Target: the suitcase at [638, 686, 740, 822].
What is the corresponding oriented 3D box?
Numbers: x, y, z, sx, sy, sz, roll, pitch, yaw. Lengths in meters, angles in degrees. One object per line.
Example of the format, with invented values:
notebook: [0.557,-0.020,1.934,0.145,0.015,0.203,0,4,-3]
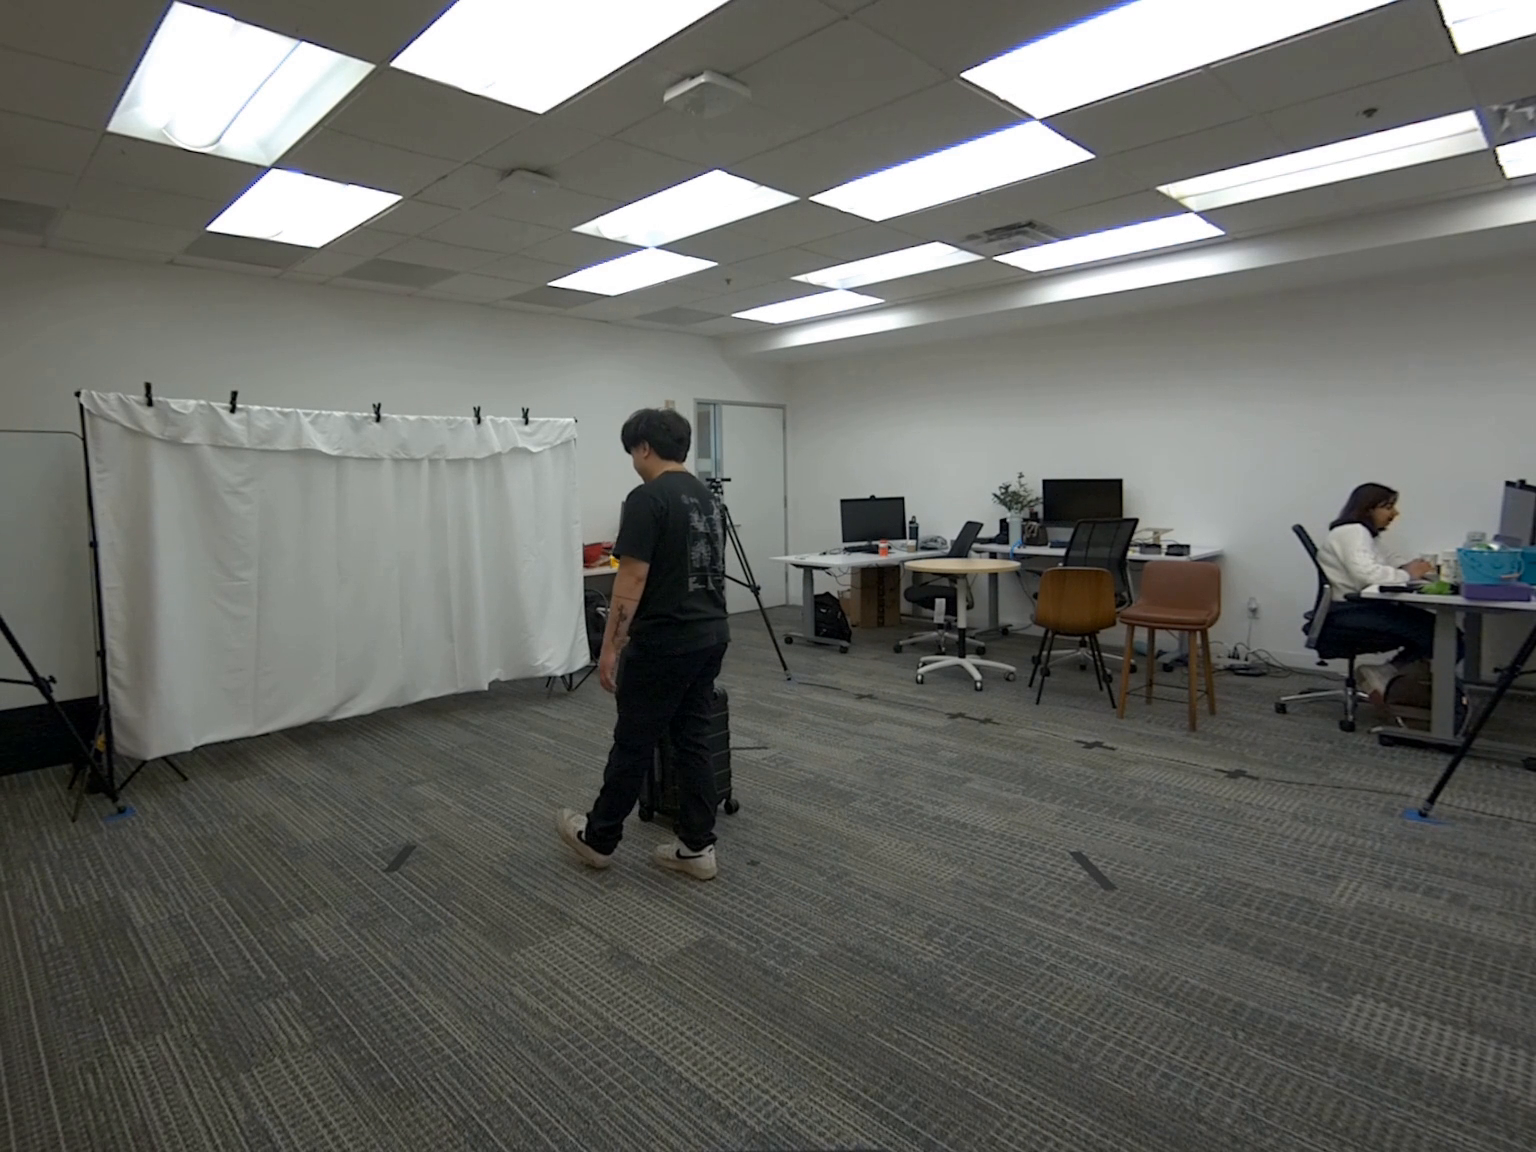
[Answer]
suitcase: [-0.346,0.721,3.545,0.255,0.548,0.365,-1,3,44]
